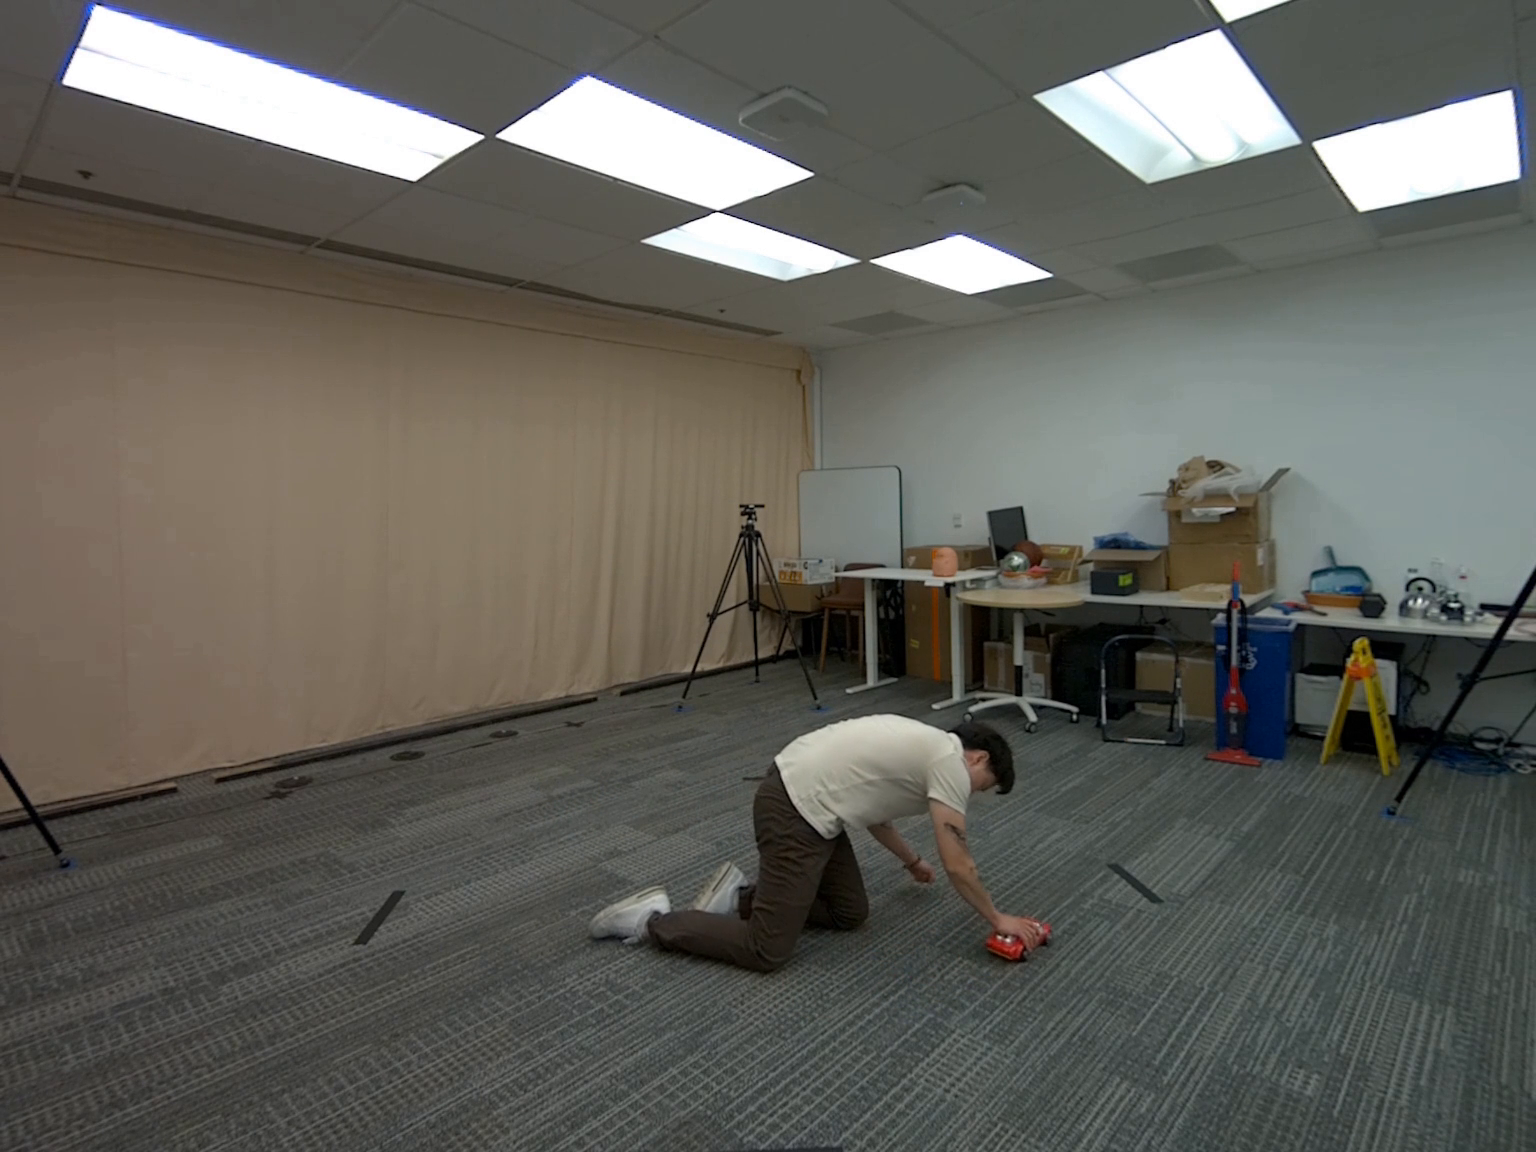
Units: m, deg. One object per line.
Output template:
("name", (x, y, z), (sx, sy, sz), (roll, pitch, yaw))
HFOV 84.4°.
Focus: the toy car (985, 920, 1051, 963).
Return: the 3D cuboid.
("toy car", (0.786, 1.132, 2.608), (0.246, 0.083, 0.135), (6, 1, -41))
